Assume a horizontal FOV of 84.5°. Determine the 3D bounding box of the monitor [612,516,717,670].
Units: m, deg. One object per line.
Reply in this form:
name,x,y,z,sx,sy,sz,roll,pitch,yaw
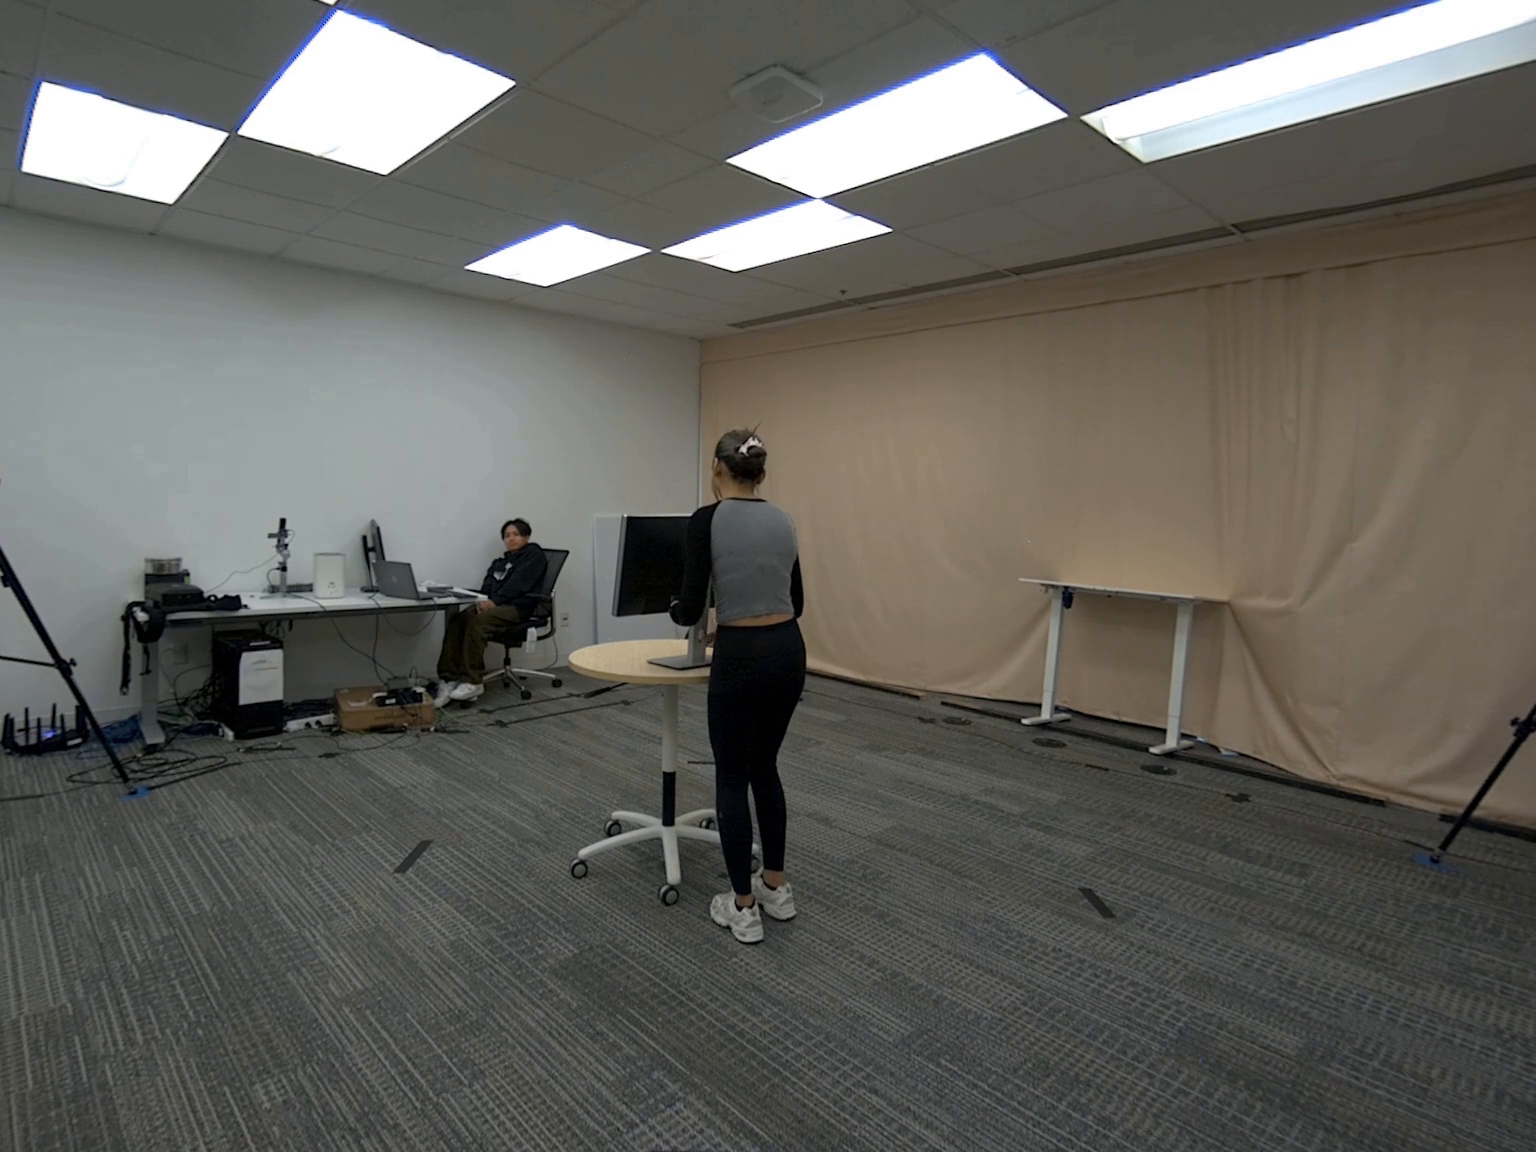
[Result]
monitor,-0.286,0.051,3.037,0.527,0.522,0.192,-3,3,-42
